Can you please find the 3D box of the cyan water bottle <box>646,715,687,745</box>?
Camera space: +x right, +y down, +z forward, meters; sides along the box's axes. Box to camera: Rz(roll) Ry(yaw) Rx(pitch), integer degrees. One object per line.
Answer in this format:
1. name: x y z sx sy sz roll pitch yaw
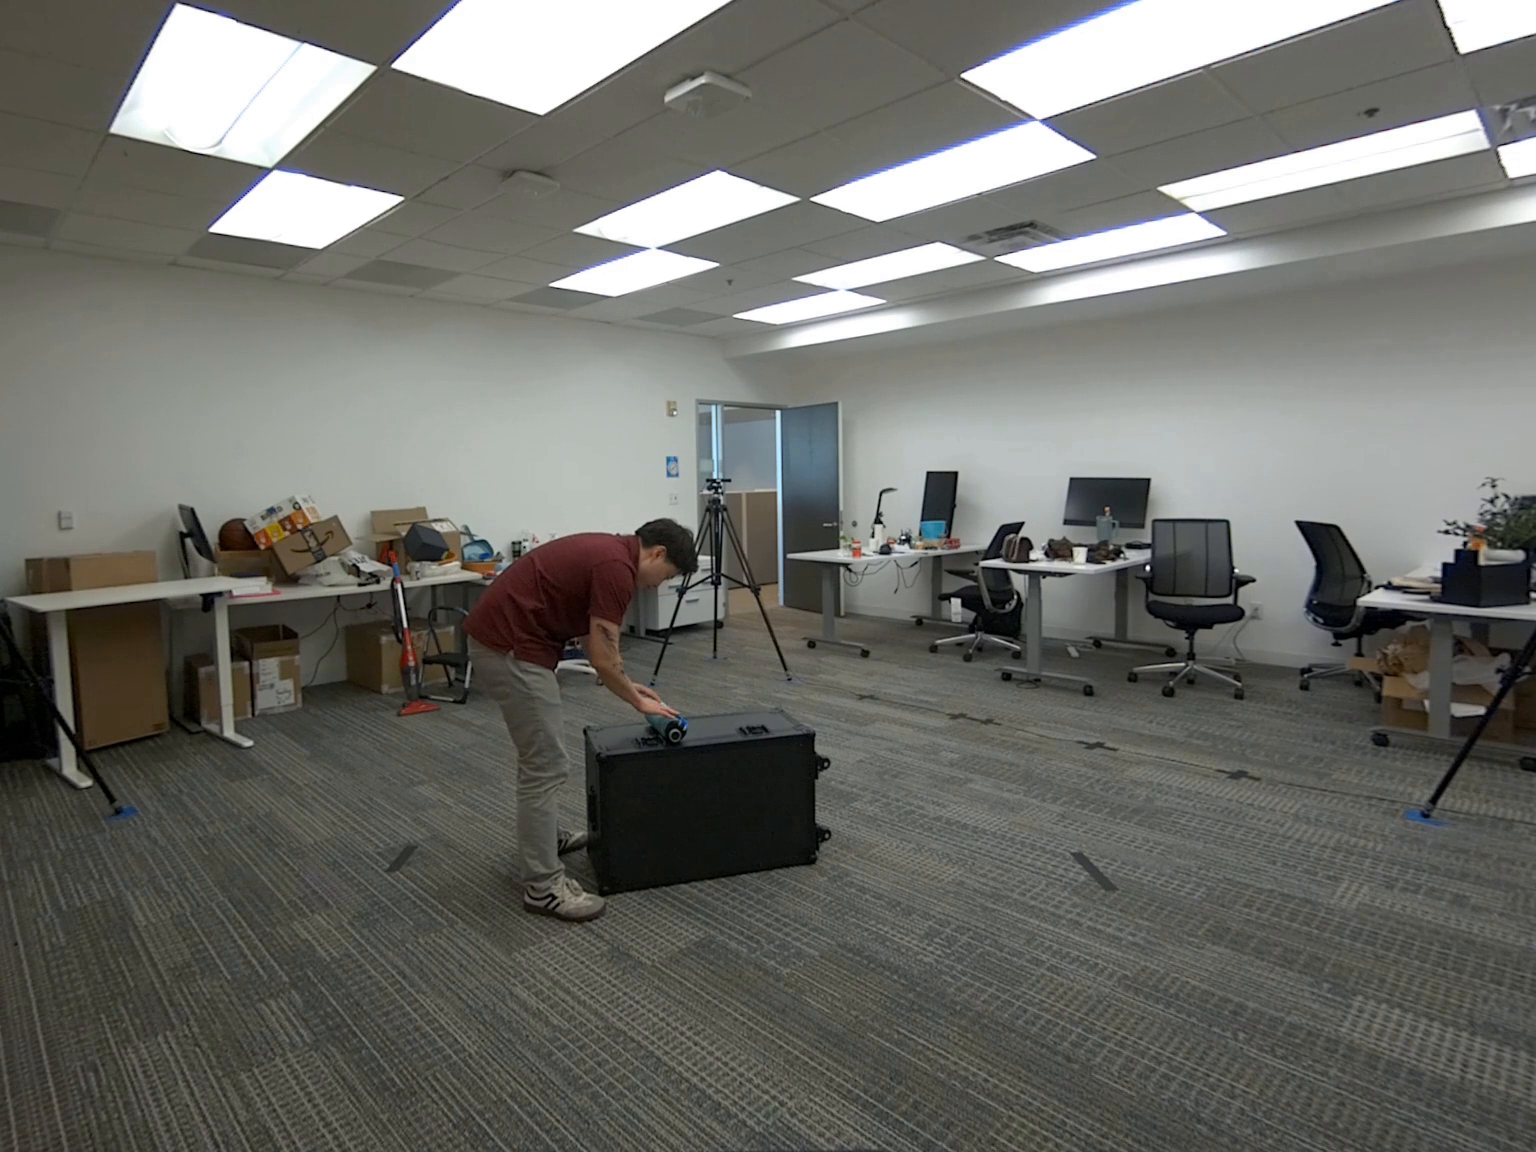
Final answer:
1. cyan water bottle: -0.367 0.520 3.081 0.090 0.092 0.290 -3 7 -23
